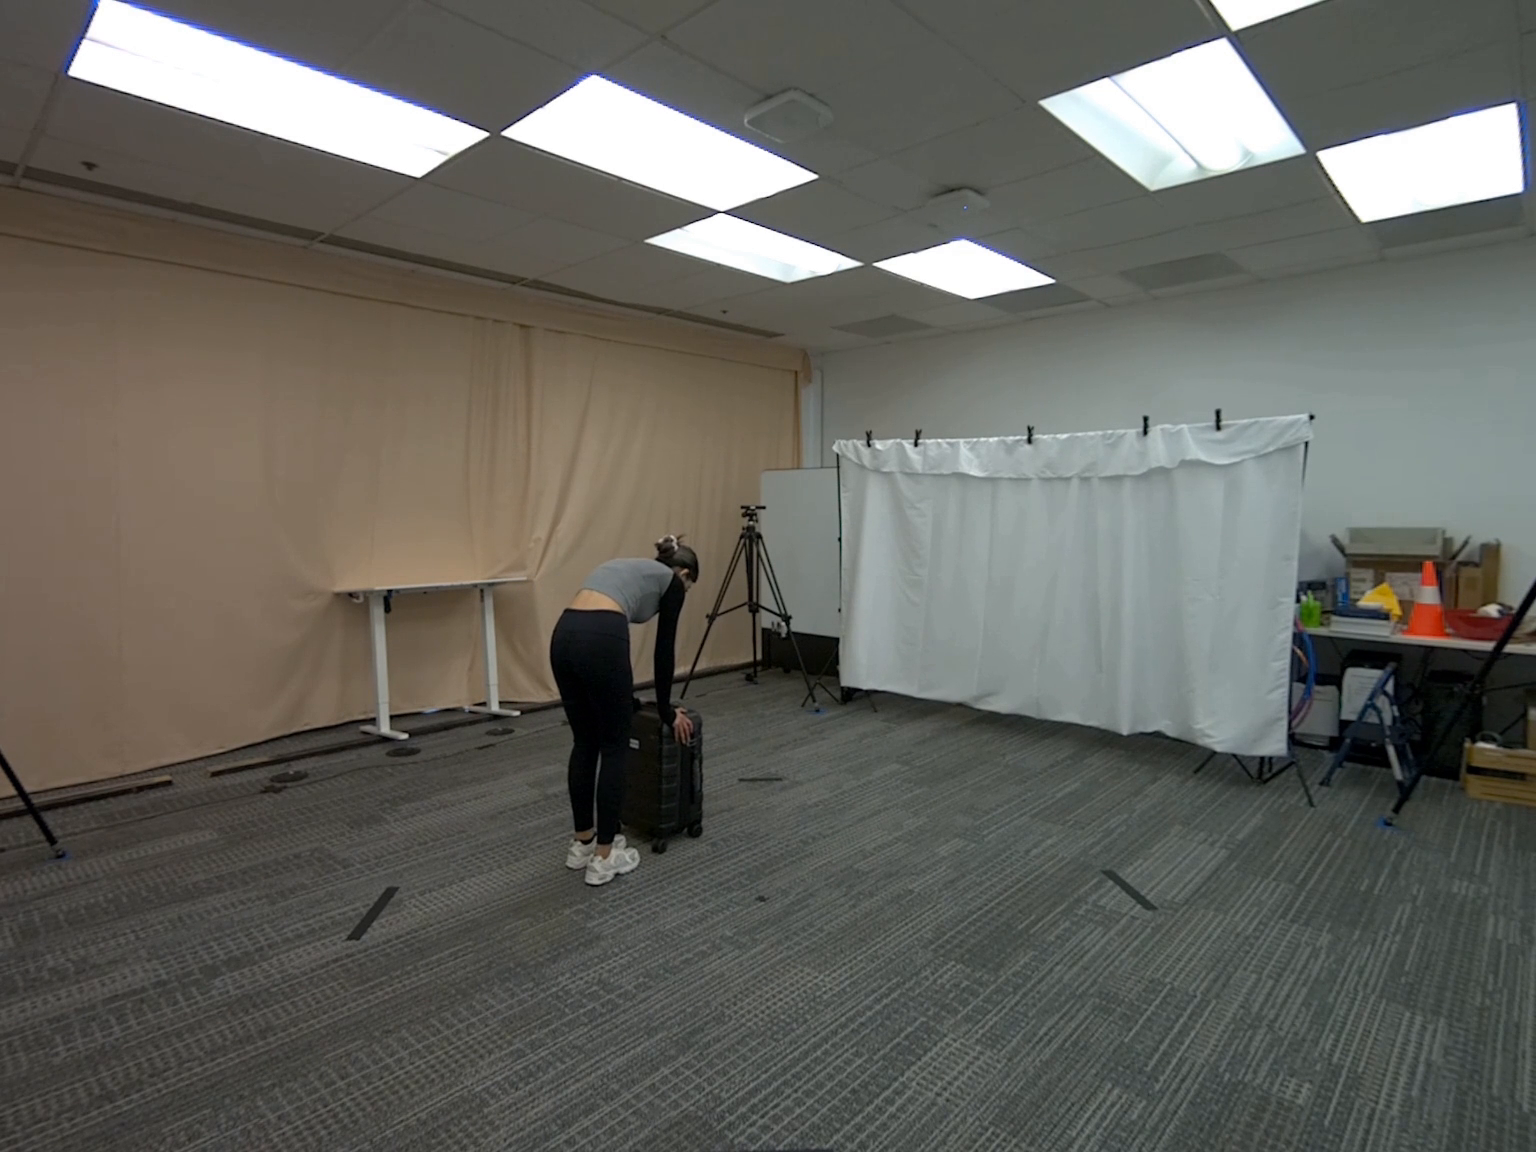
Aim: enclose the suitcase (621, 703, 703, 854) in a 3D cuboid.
[{"bbox_3d":[-0.467,0.822,3.582,0.388,0.549,0.240,3,3,42],"label":"suitcase"}]
